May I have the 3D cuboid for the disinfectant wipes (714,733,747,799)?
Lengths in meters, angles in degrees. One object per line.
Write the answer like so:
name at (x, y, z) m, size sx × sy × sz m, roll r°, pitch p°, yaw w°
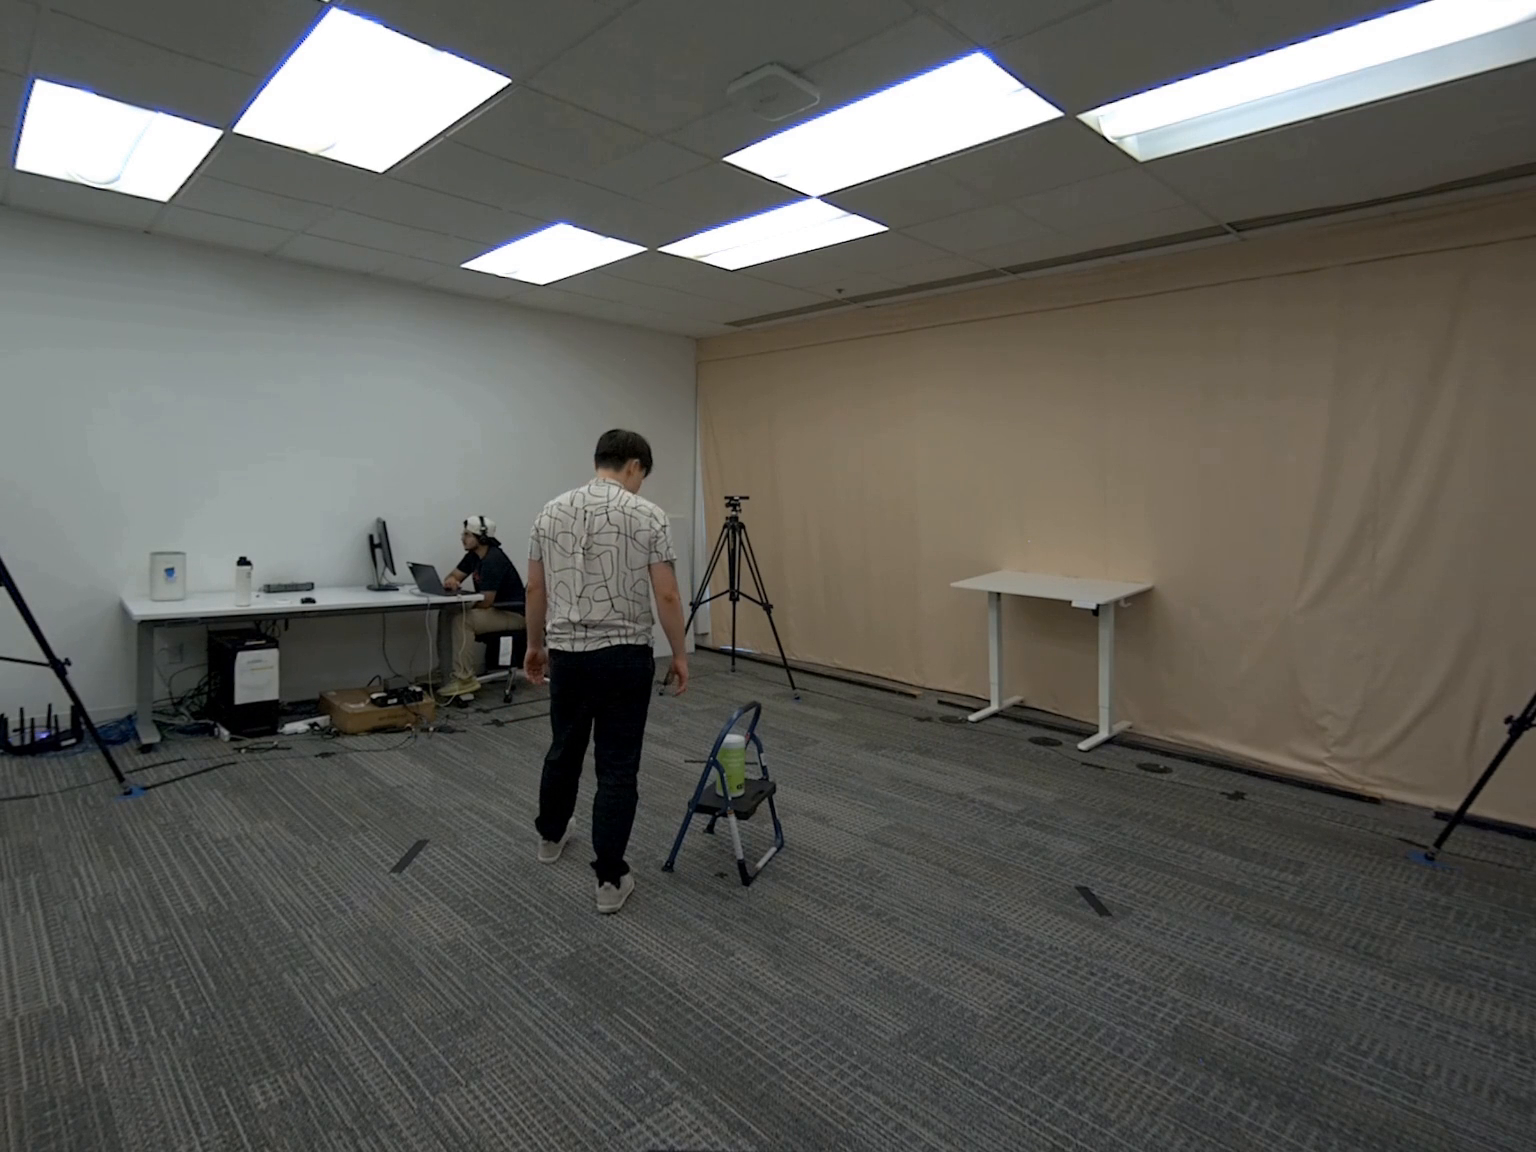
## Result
disinfectant wipes at (-0.147, 0.731, 3.216) m, size 0.118 × 0.217 × 0.118 m, roll 1°, pitch 0°, yaw -1°
